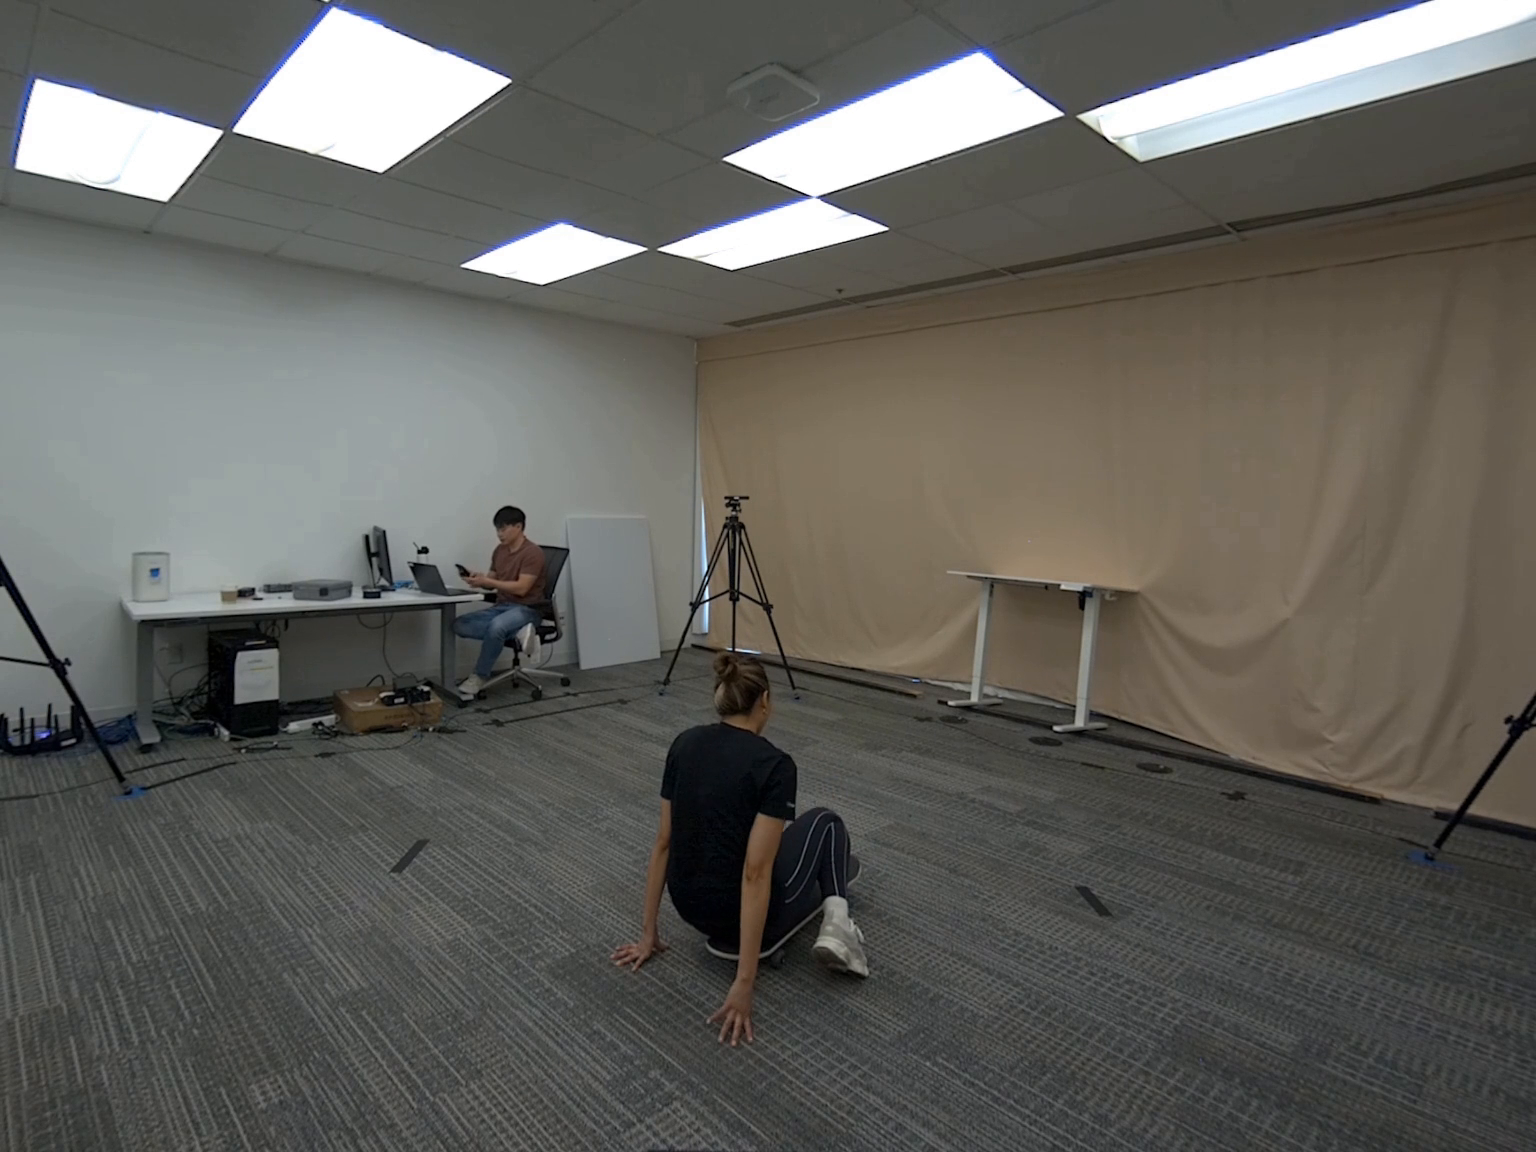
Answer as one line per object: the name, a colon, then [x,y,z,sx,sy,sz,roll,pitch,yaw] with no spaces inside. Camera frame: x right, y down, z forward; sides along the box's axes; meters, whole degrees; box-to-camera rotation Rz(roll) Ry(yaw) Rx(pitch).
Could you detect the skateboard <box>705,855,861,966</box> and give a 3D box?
skateboard: [0.078,1.087,2.704,0.198,0.110,0.770,2,6,32]
